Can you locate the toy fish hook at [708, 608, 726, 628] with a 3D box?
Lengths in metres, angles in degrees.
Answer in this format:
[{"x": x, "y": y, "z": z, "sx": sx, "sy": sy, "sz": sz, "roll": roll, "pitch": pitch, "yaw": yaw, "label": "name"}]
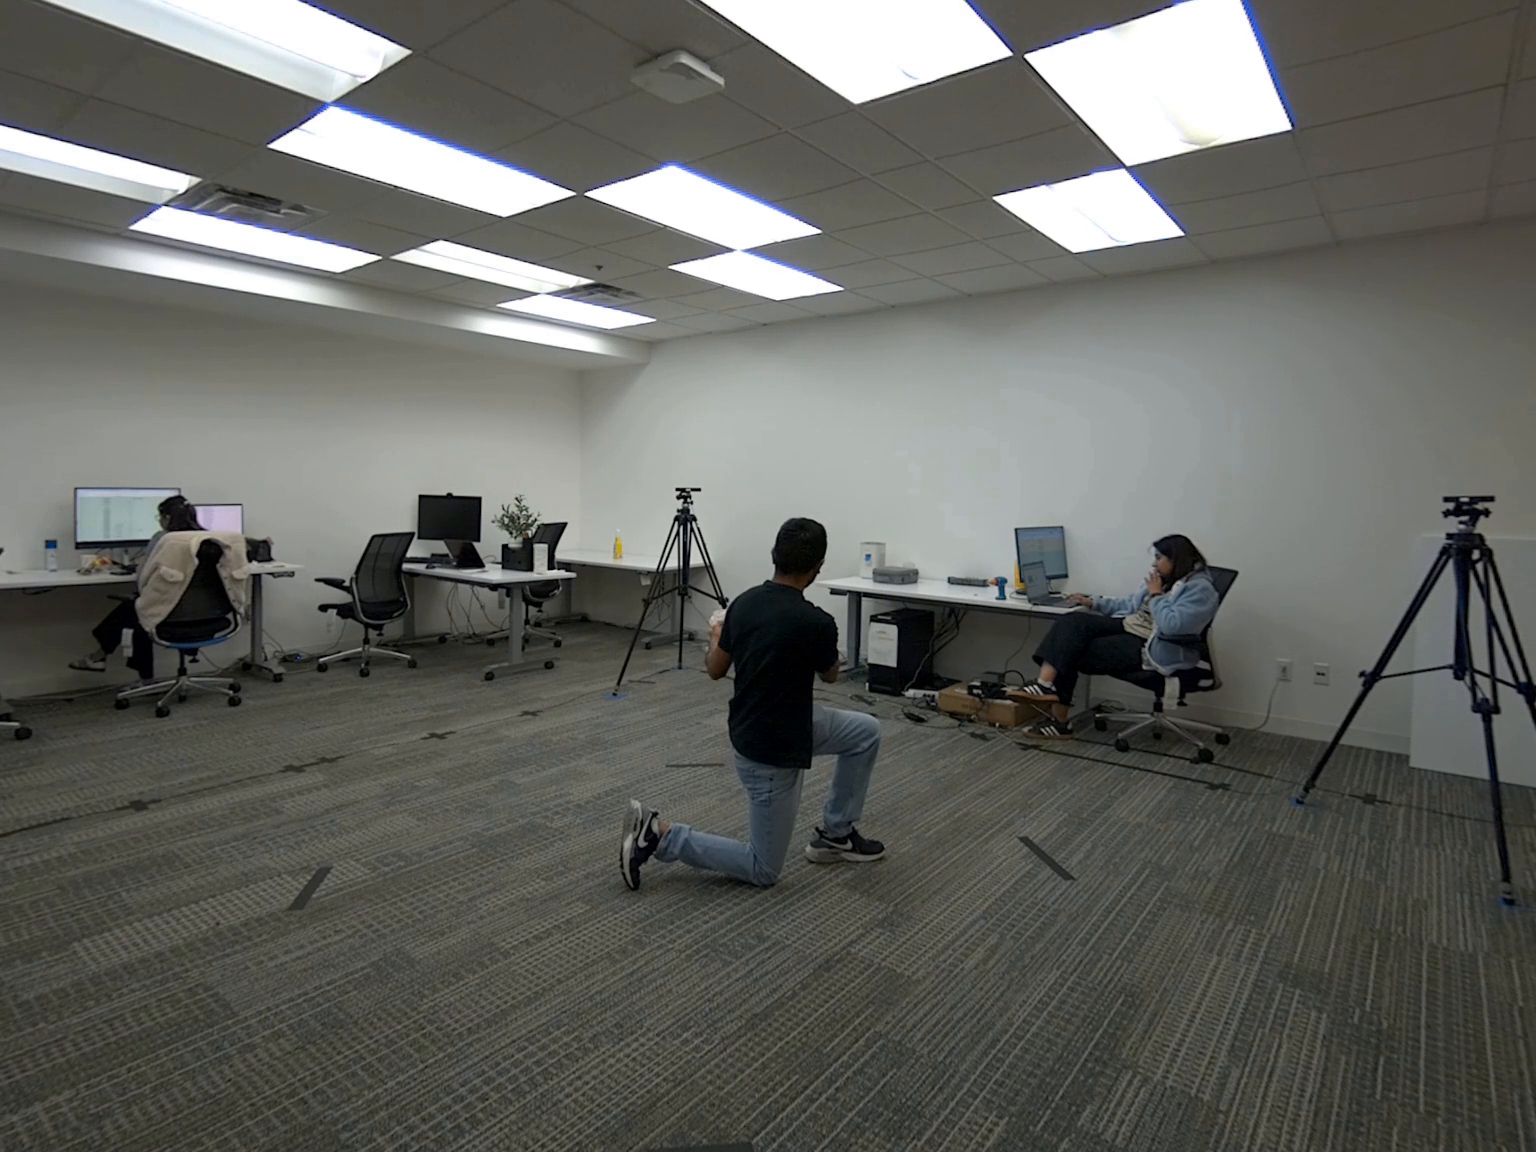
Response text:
[{"x": 0.028, "y": 0.194, "z": 3.509, "sx": 0.514, "sy": 0.047, "sz": 0.227, "roll": 3, "pitch": 29, "yaw": 12, "label": "toy fish hook"}]
